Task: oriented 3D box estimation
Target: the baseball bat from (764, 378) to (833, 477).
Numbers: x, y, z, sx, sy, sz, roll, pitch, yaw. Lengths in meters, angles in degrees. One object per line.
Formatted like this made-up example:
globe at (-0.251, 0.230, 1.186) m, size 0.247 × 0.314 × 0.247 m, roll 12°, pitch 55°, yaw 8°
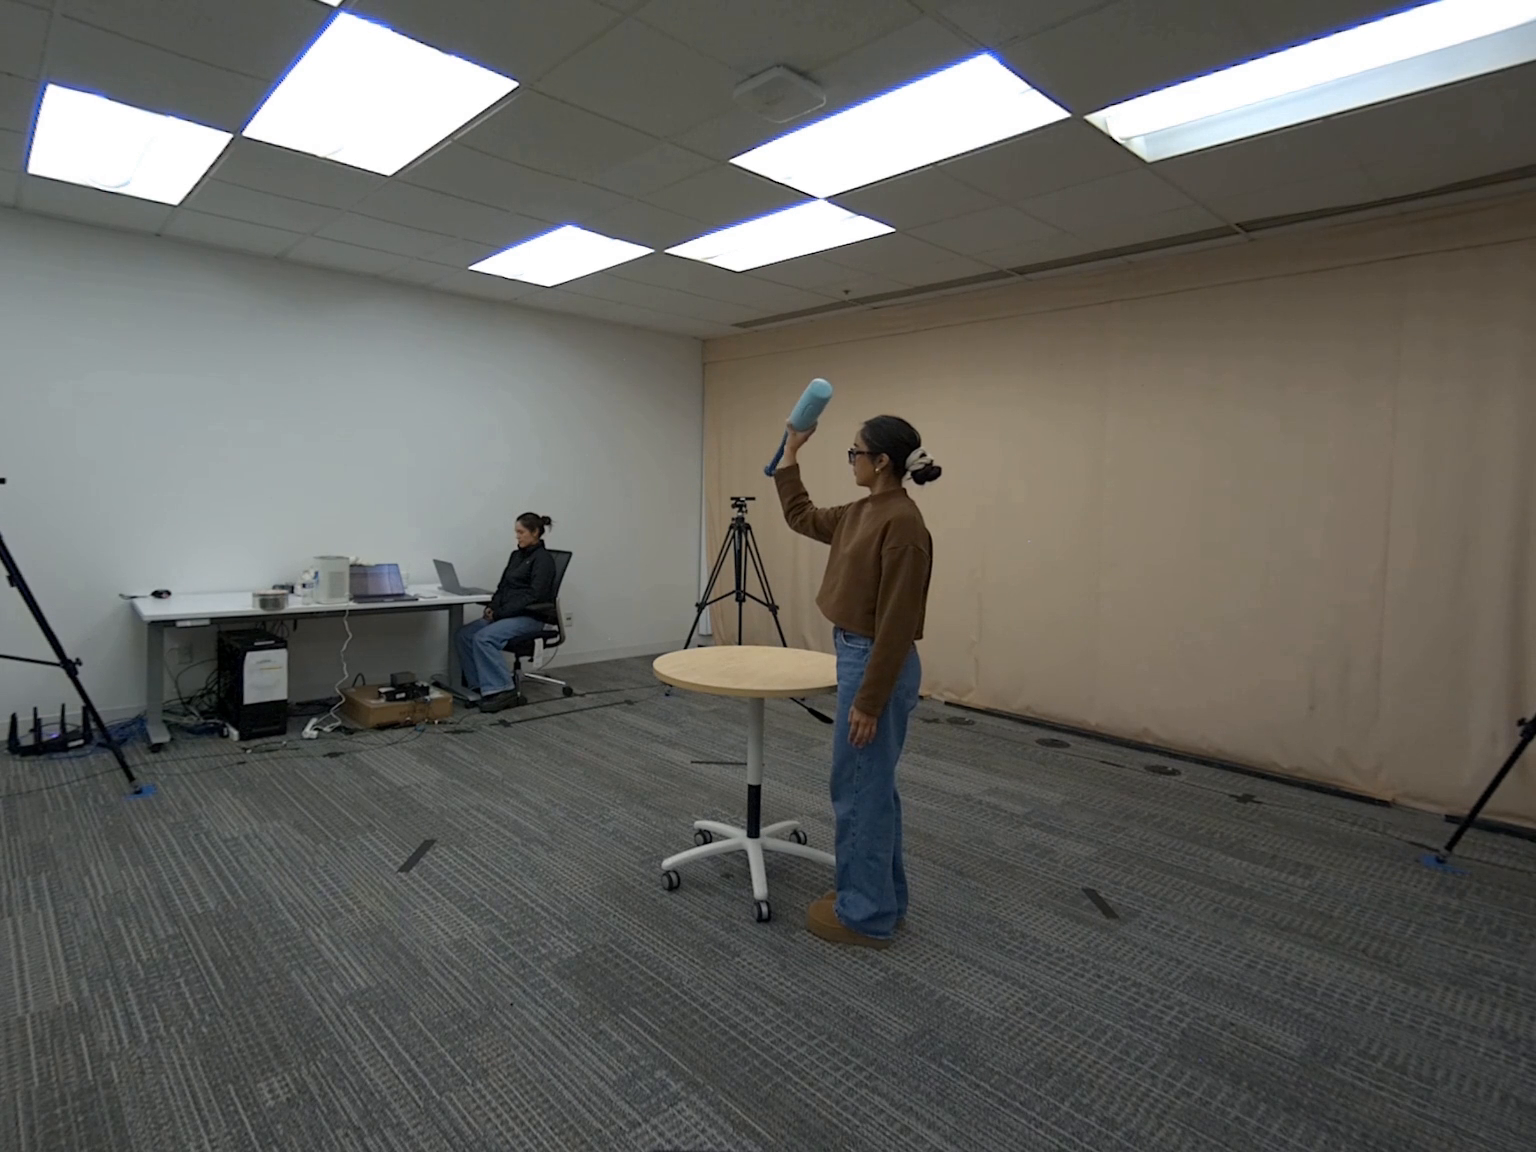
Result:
baseball bat at (0.084, -0.510, 2.980) m, size 0.088 × 0.091 × 0.540 m, roll 0°, pitch -24°, yaw -19°
